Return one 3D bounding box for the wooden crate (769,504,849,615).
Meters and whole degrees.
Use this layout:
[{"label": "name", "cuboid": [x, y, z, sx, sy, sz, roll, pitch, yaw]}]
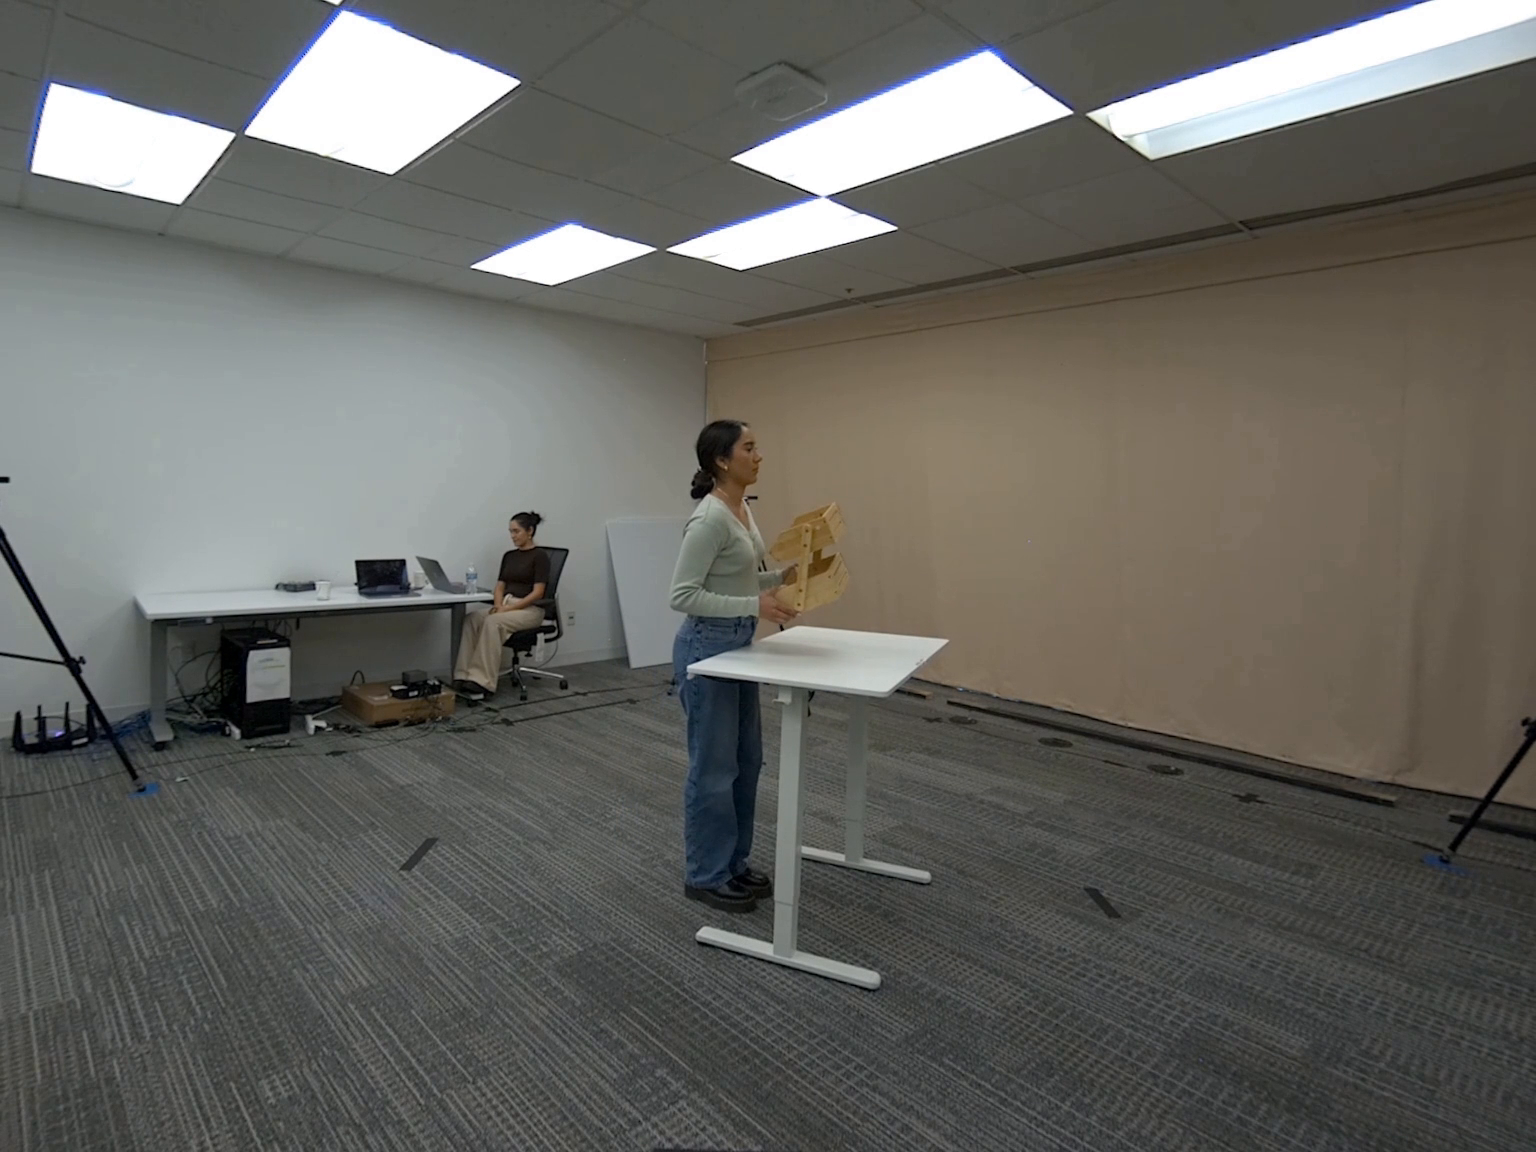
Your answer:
[{"label": "wooden crate", "cuboid": [0.110, -0.051, 2.774, 0.304, 0.271, 0.324, -21, 8, 15]}]
